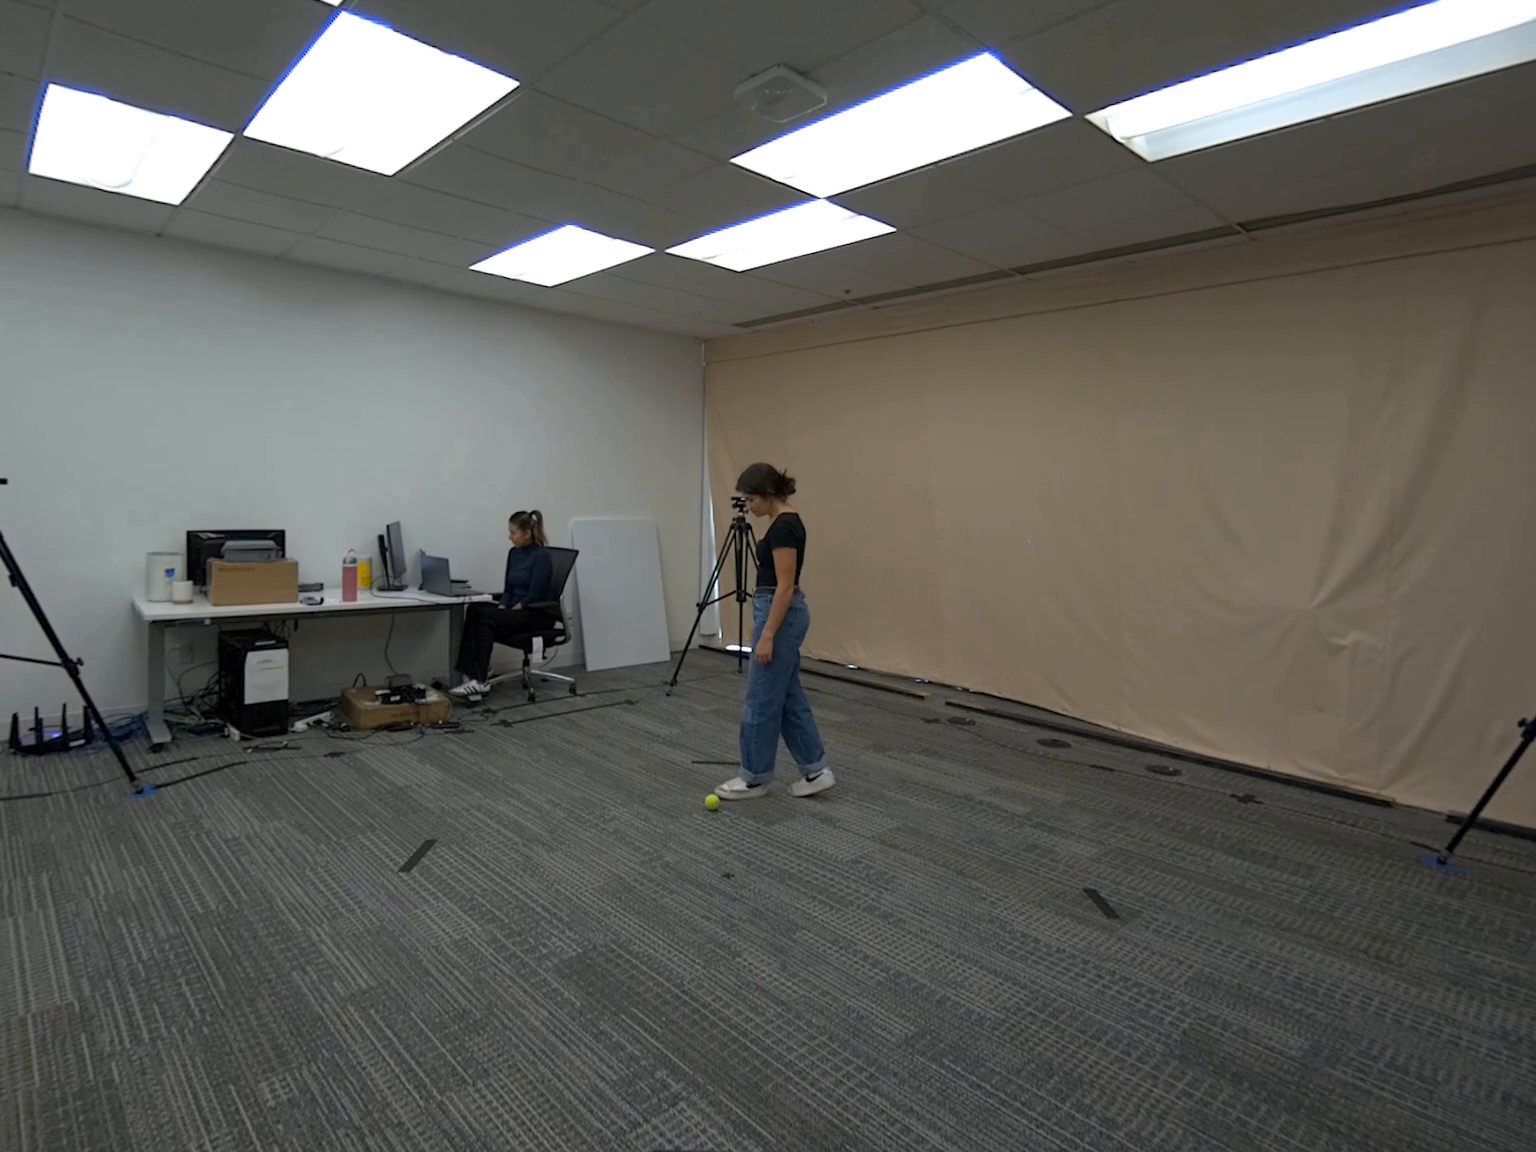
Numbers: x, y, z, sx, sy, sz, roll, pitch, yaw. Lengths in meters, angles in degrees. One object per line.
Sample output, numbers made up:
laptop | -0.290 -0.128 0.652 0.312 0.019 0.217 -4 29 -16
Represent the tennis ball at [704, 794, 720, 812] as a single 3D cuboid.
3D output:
tennis ball | -0.262 1.000 3.763 0.066 0.066 0.067 1 4 -1
